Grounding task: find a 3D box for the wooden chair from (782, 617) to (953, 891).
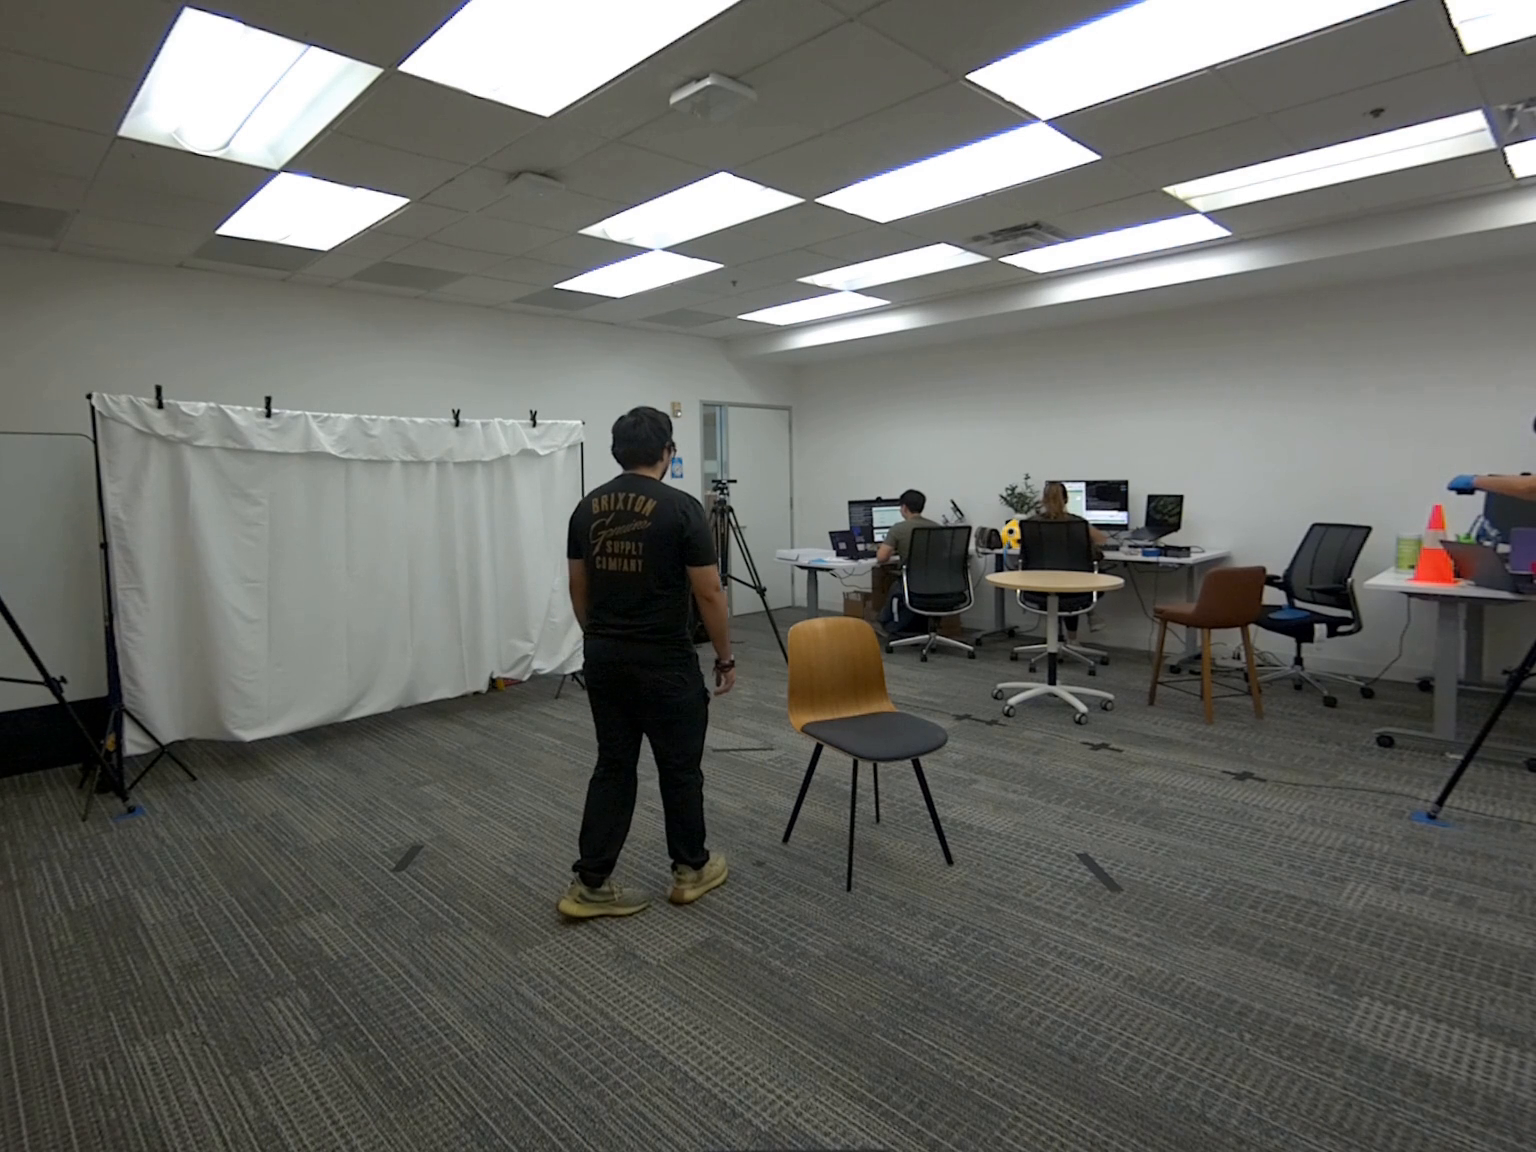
[{"bbox_3d":[0.359,0.609,3.145,0.467,0.877,0.535,-3,0,-27],"label":"wooden chair"}]
